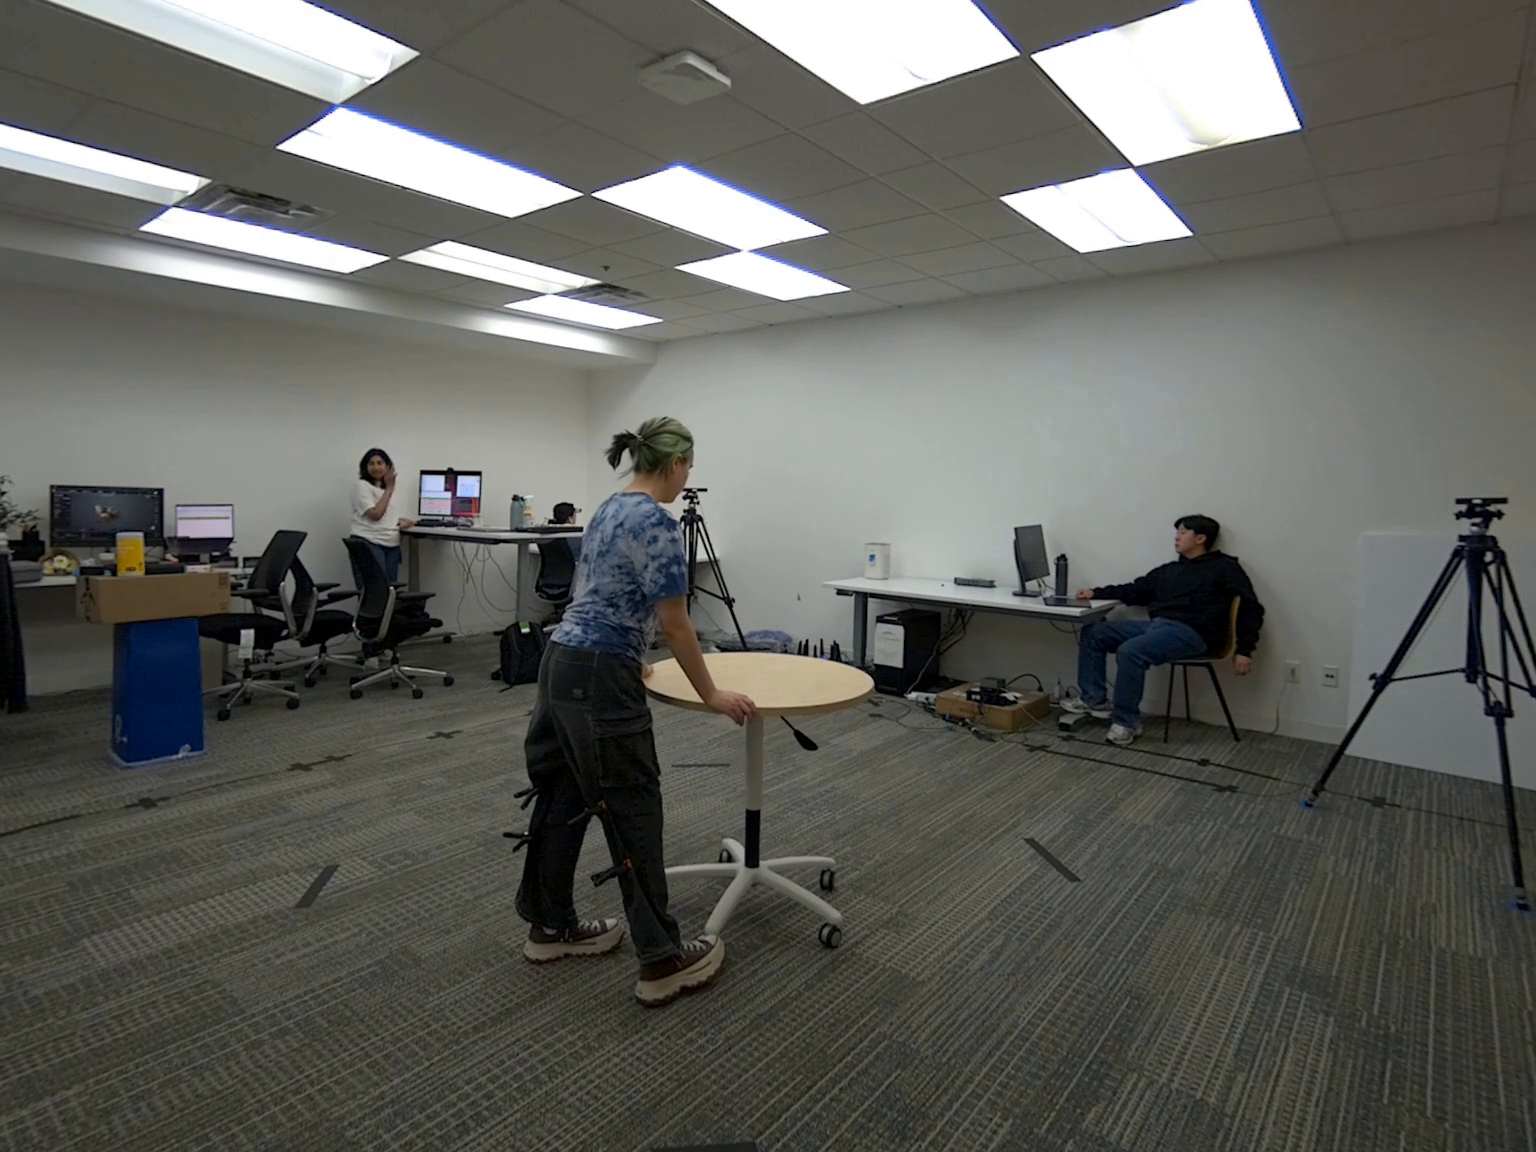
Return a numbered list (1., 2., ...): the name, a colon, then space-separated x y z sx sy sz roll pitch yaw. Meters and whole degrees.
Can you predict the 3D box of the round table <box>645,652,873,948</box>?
1. round table: -0.054 0.716 2.813 0.763 0.791 0.768 1 5 -2
